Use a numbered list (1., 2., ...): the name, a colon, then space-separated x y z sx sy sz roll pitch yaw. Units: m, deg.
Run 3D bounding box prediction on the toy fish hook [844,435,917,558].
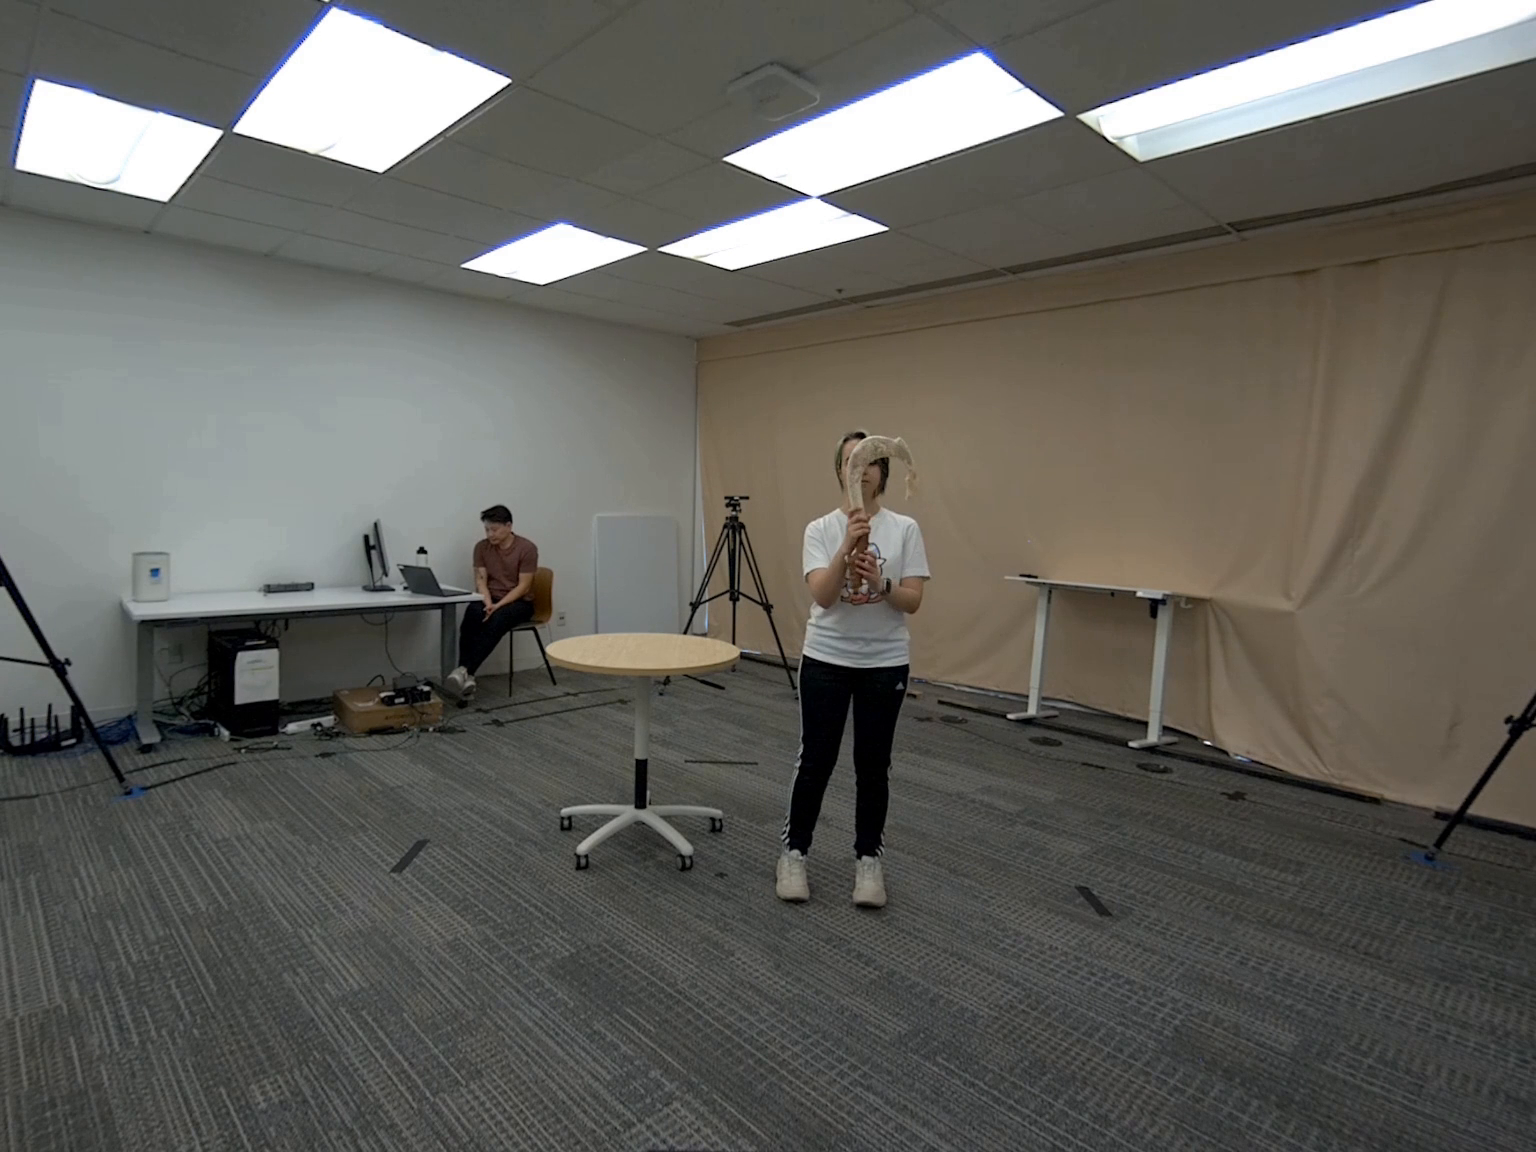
1. toy fish hook: 0.343 -0.189 2.657 0.227 0.504 0.048 5 7 12
